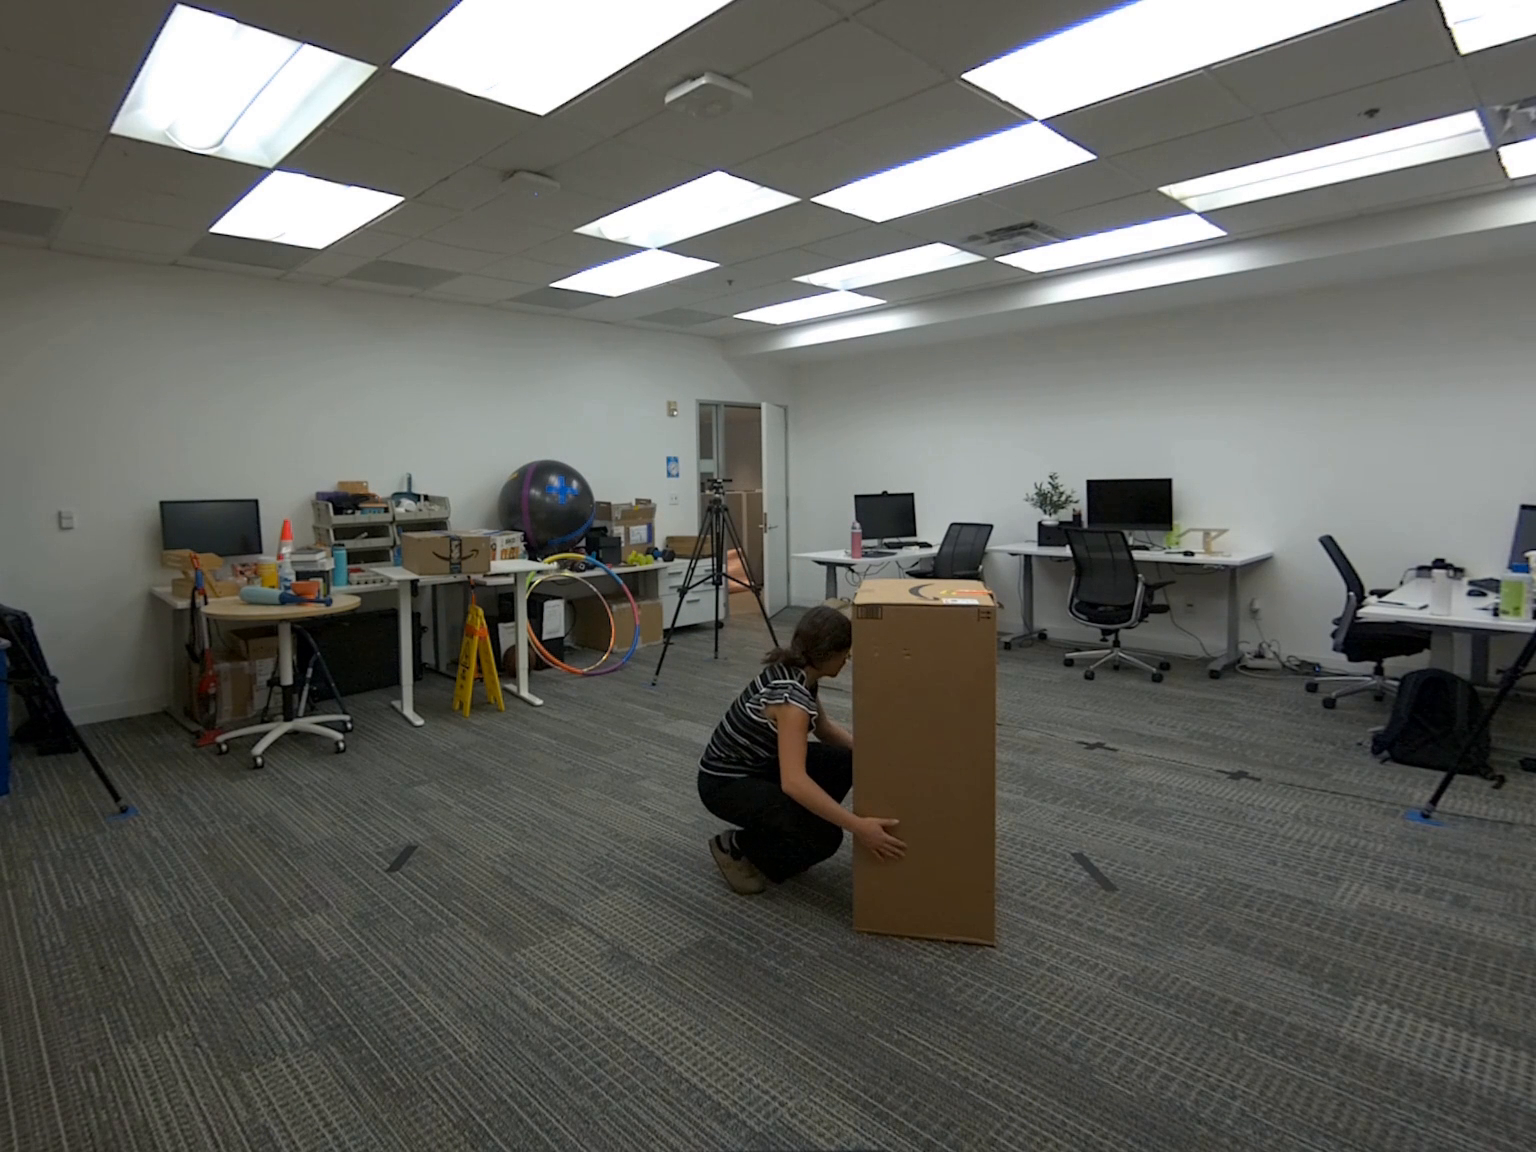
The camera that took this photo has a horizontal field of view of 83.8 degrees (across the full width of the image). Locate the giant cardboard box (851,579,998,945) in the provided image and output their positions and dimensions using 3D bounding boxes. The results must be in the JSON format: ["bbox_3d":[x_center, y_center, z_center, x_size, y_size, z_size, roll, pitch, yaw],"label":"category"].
[{"bbox_3d":[0.516,0.556,2.826,0.430,1.022,0.574,0,4,9],"label":"giant cardboard box"}]
